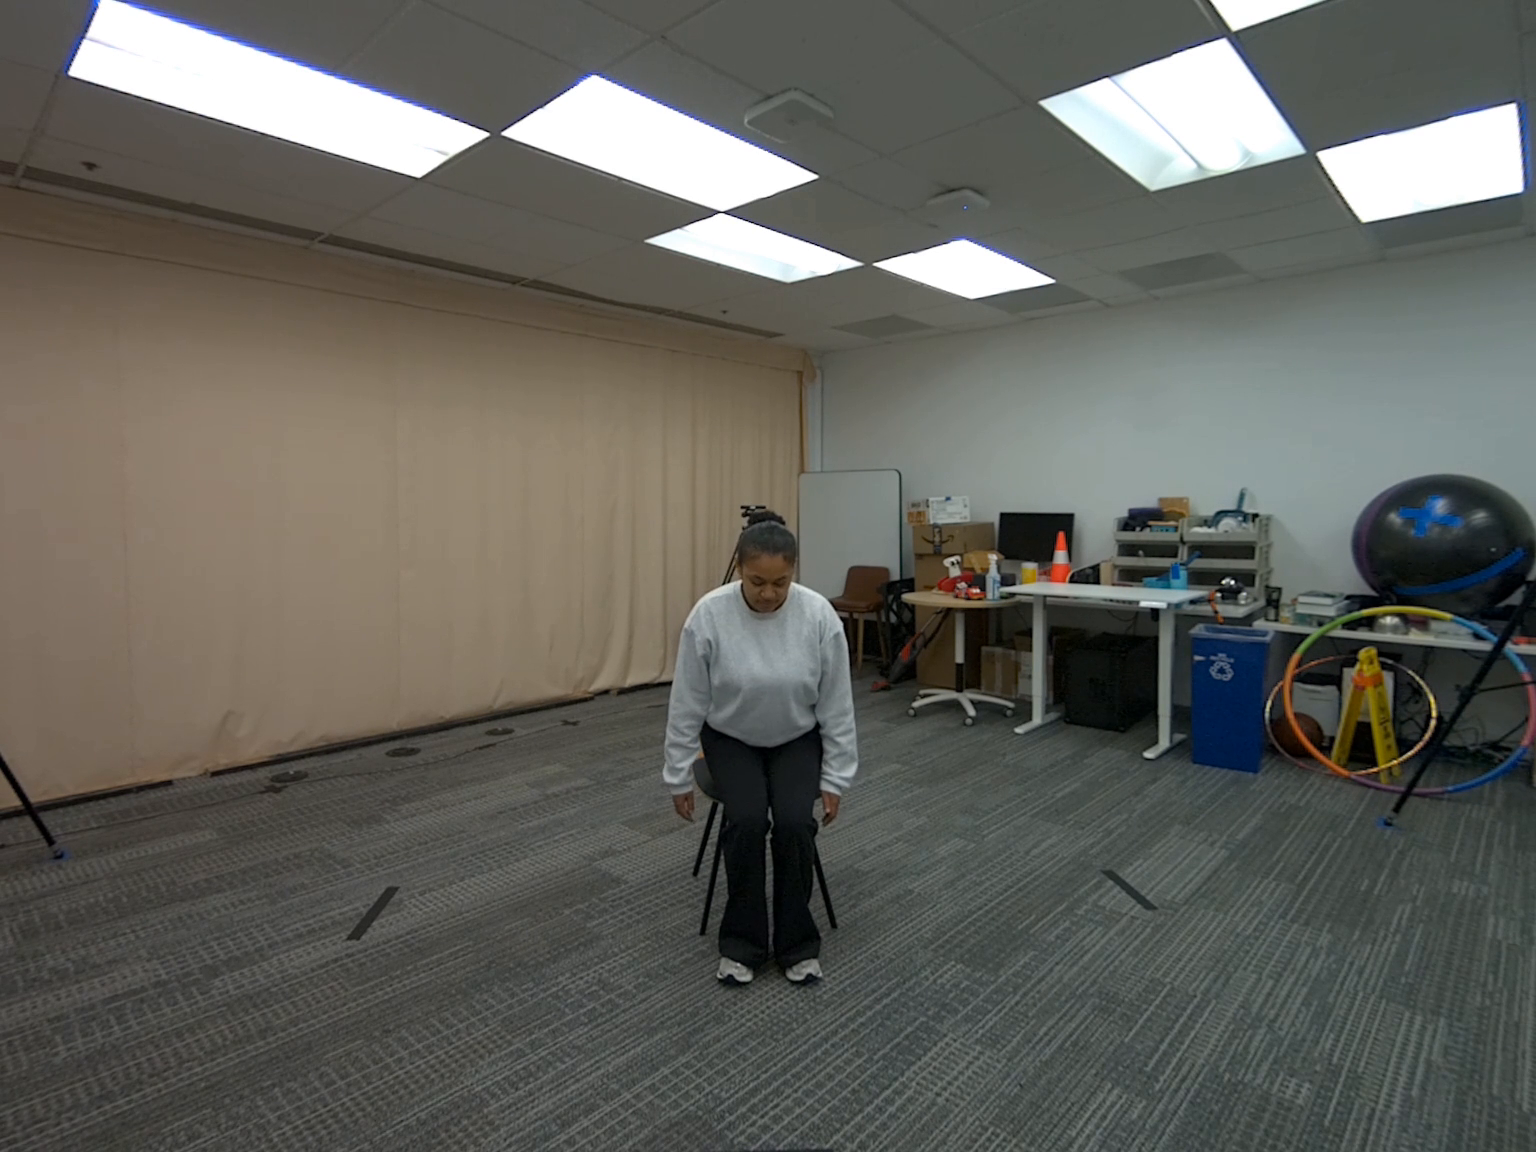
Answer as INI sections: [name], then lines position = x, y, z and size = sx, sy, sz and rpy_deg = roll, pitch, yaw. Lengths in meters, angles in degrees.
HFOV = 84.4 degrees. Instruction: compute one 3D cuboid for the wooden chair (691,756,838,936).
[wooden chair]
position = -0.023, 0.717, 2.933
size = 0.475, 0.877, 0.527
rpy_deg = 0, 0, -8
